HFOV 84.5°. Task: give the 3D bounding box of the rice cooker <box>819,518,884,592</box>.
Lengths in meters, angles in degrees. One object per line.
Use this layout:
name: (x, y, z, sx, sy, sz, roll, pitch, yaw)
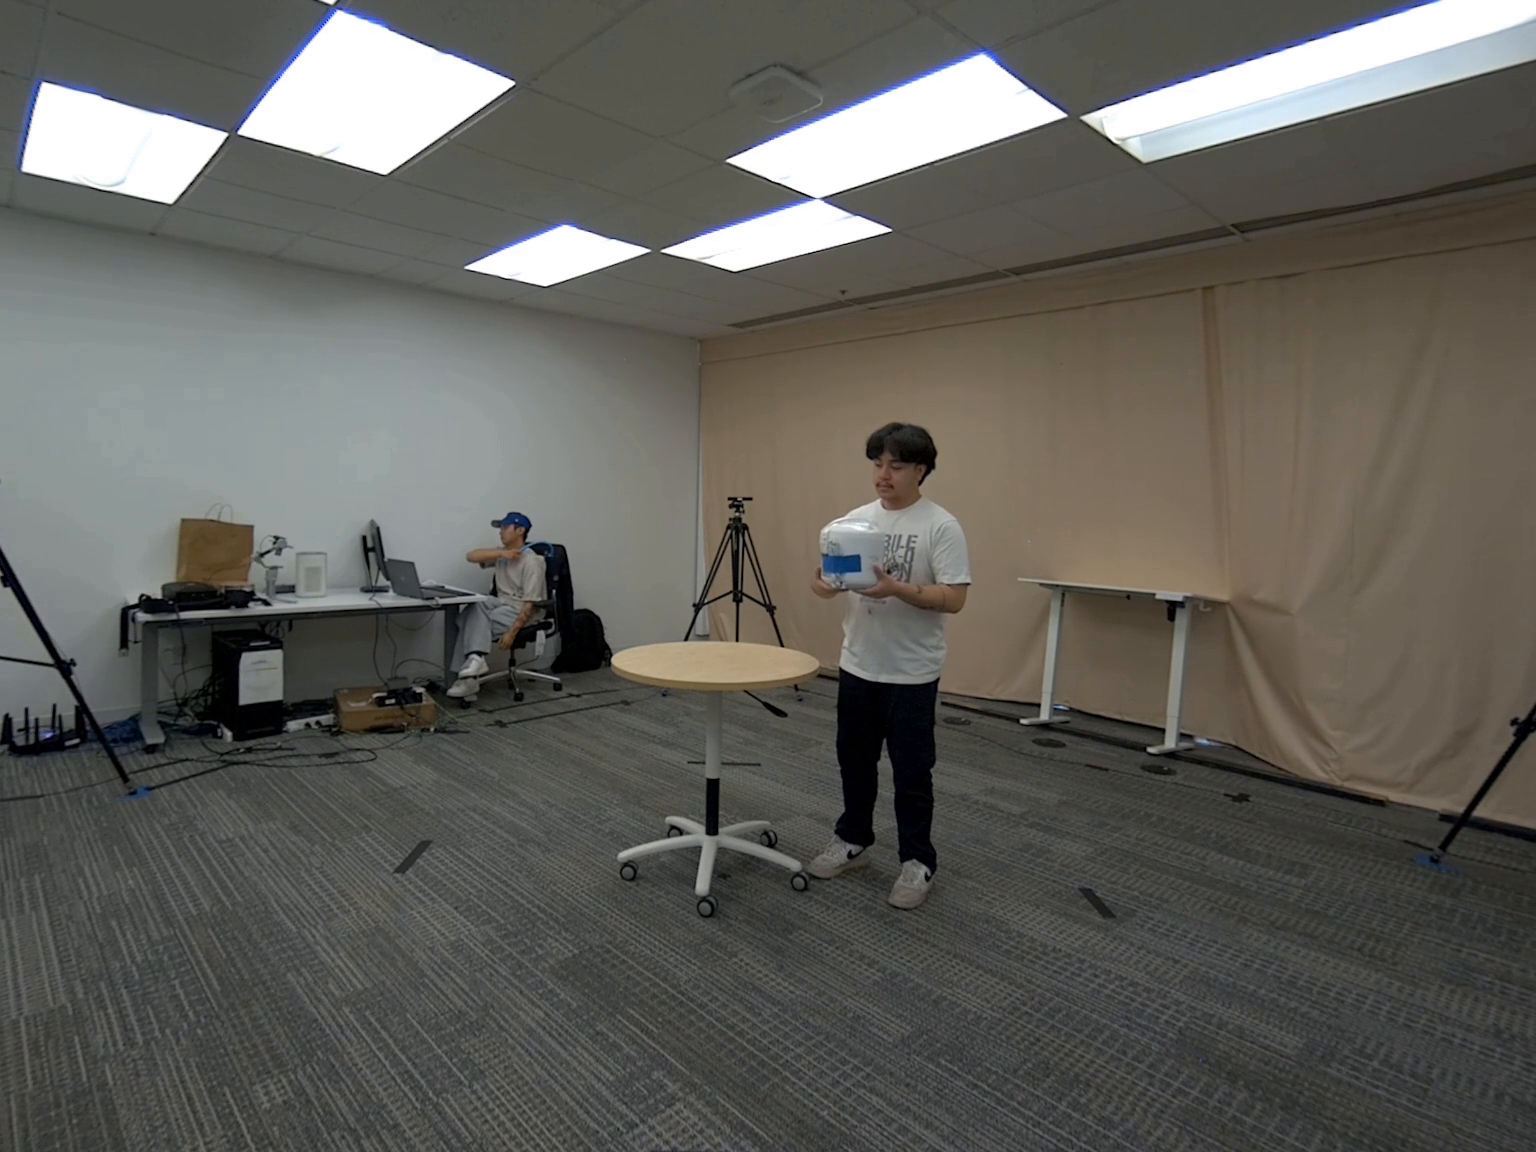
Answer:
rice cooker: (0.271, -0.082, 2.801, 0.219, 0.232, 0.220, 2, 7, -11)
